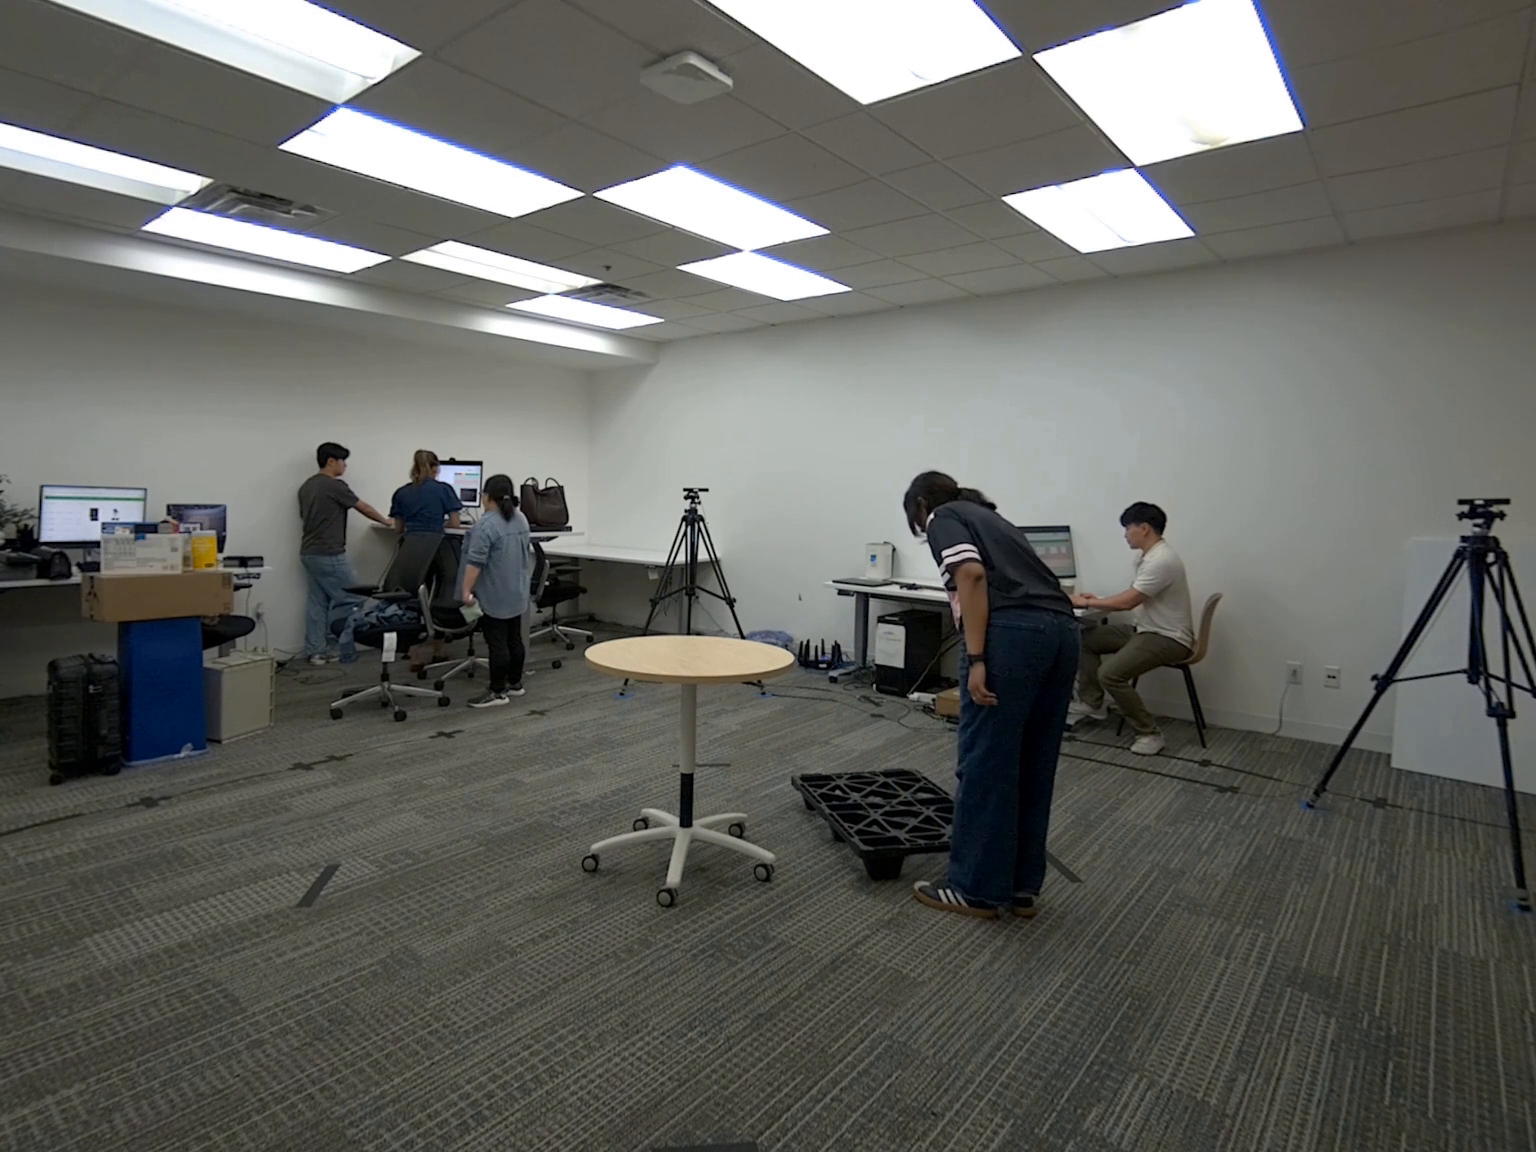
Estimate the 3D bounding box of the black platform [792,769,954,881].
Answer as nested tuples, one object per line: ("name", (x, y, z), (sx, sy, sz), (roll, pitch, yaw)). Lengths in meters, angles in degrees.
("black platform", (0.485, 0.983, 3.447), (0.596, 0.143, 0.821), (-1, 6, -16))
